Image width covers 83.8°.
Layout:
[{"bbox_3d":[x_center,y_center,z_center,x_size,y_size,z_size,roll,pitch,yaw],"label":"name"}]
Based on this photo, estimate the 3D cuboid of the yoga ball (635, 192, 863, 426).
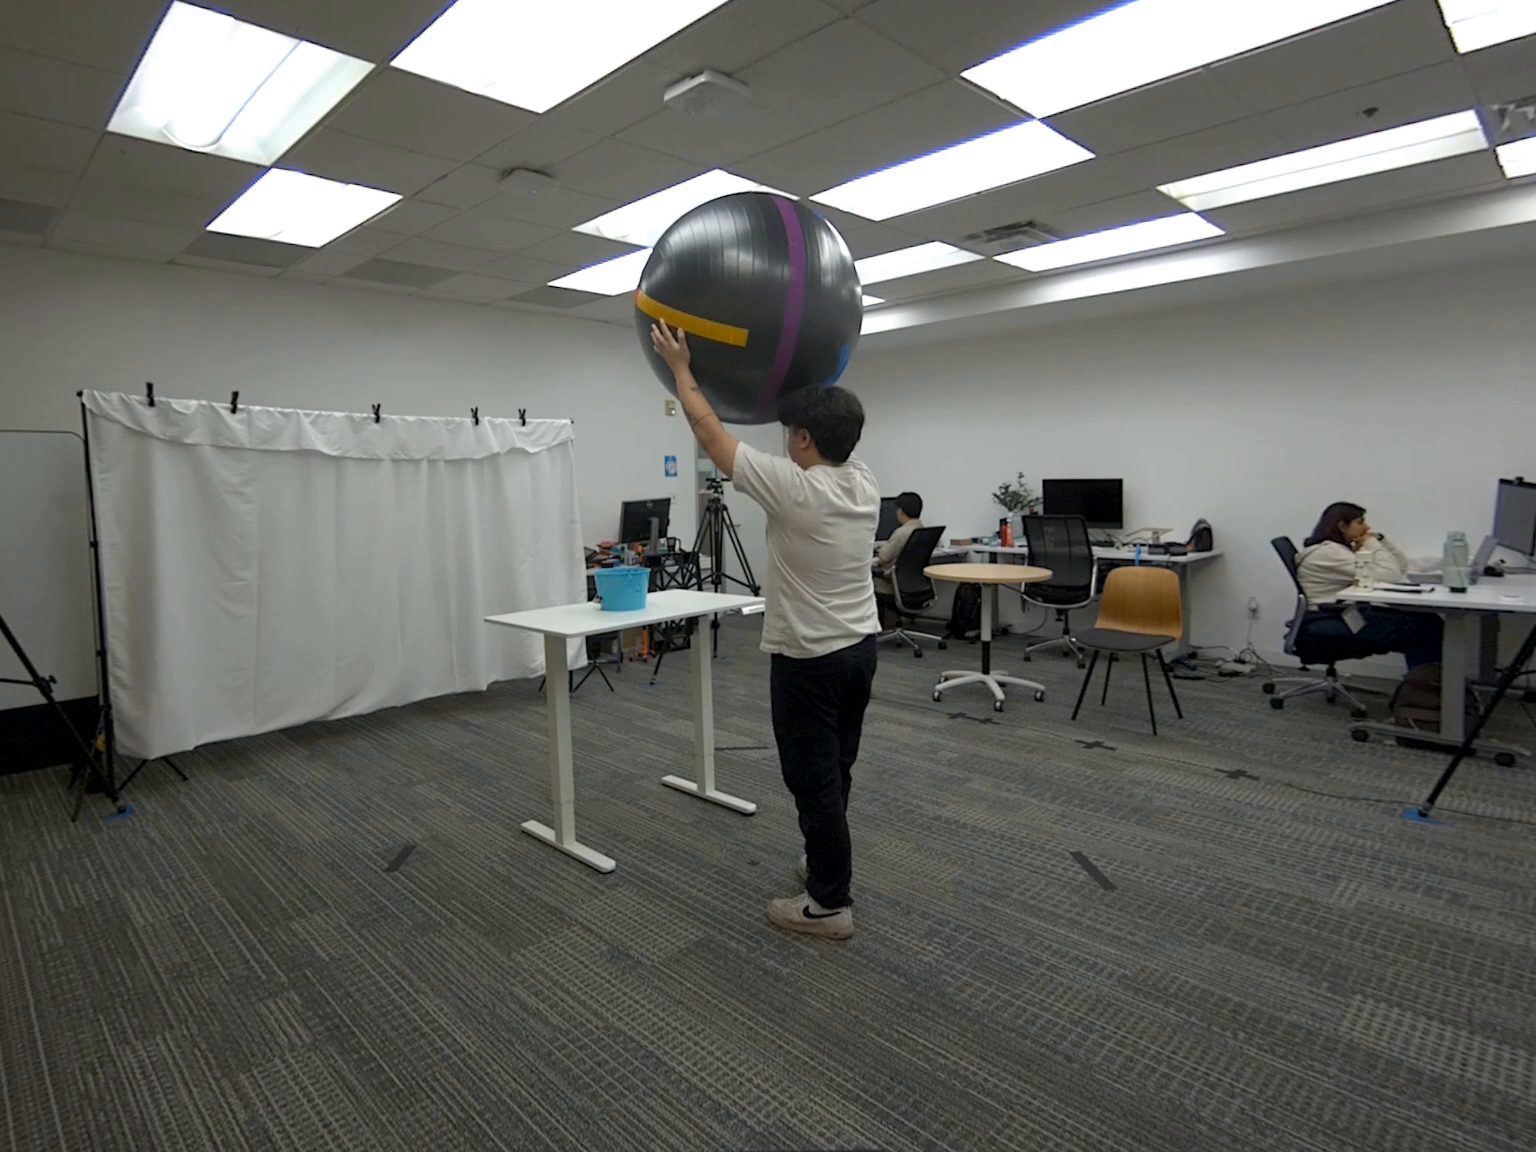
[{"bbox_3d":[-0.062,-0.885,2.871,0.757,0.755,0.762,-1,5,-2],"label":"yoga ball"}]
